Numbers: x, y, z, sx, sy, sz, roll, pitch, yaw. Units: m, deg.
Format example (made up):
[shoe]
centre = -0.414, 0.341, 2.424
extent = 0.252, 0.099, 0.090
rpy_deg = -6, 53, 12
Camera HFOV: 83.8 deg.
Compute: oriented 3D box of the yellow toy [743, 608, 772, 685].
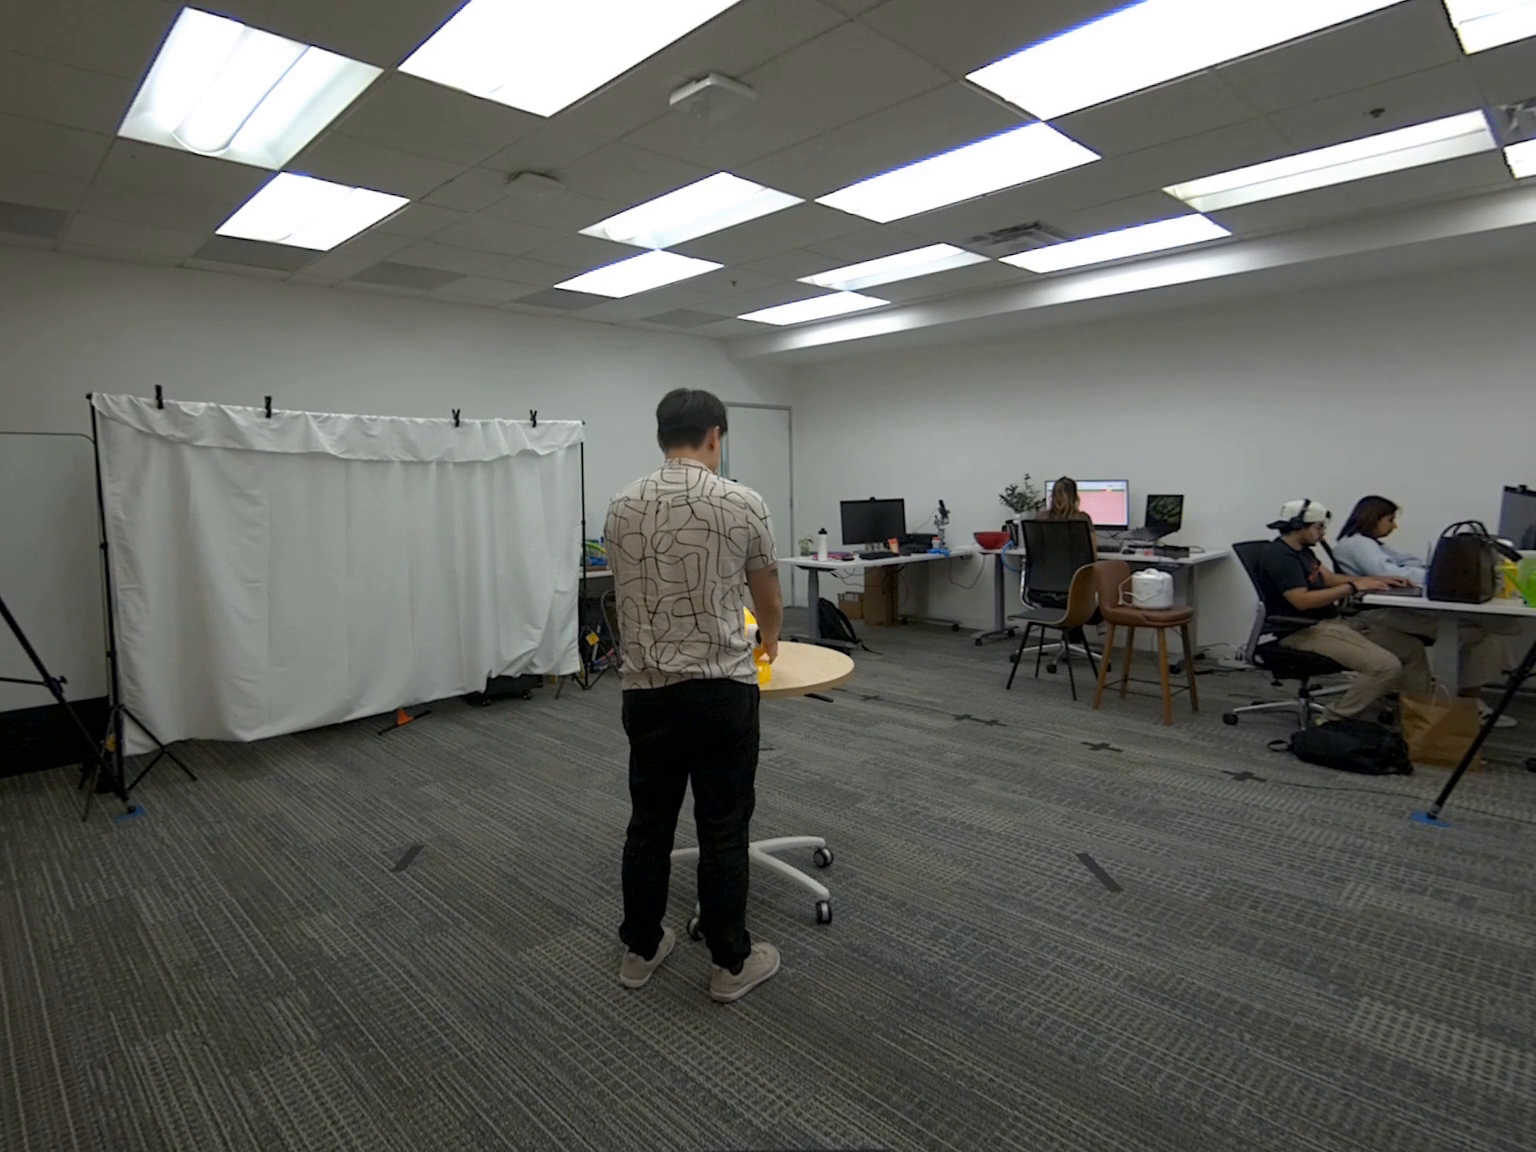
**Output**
[yellow toy]
centre = -0.076, 0.207, 2.665
extent = 0.205, 0.229, 0.194
rpy_deg = -1, 6, 0
